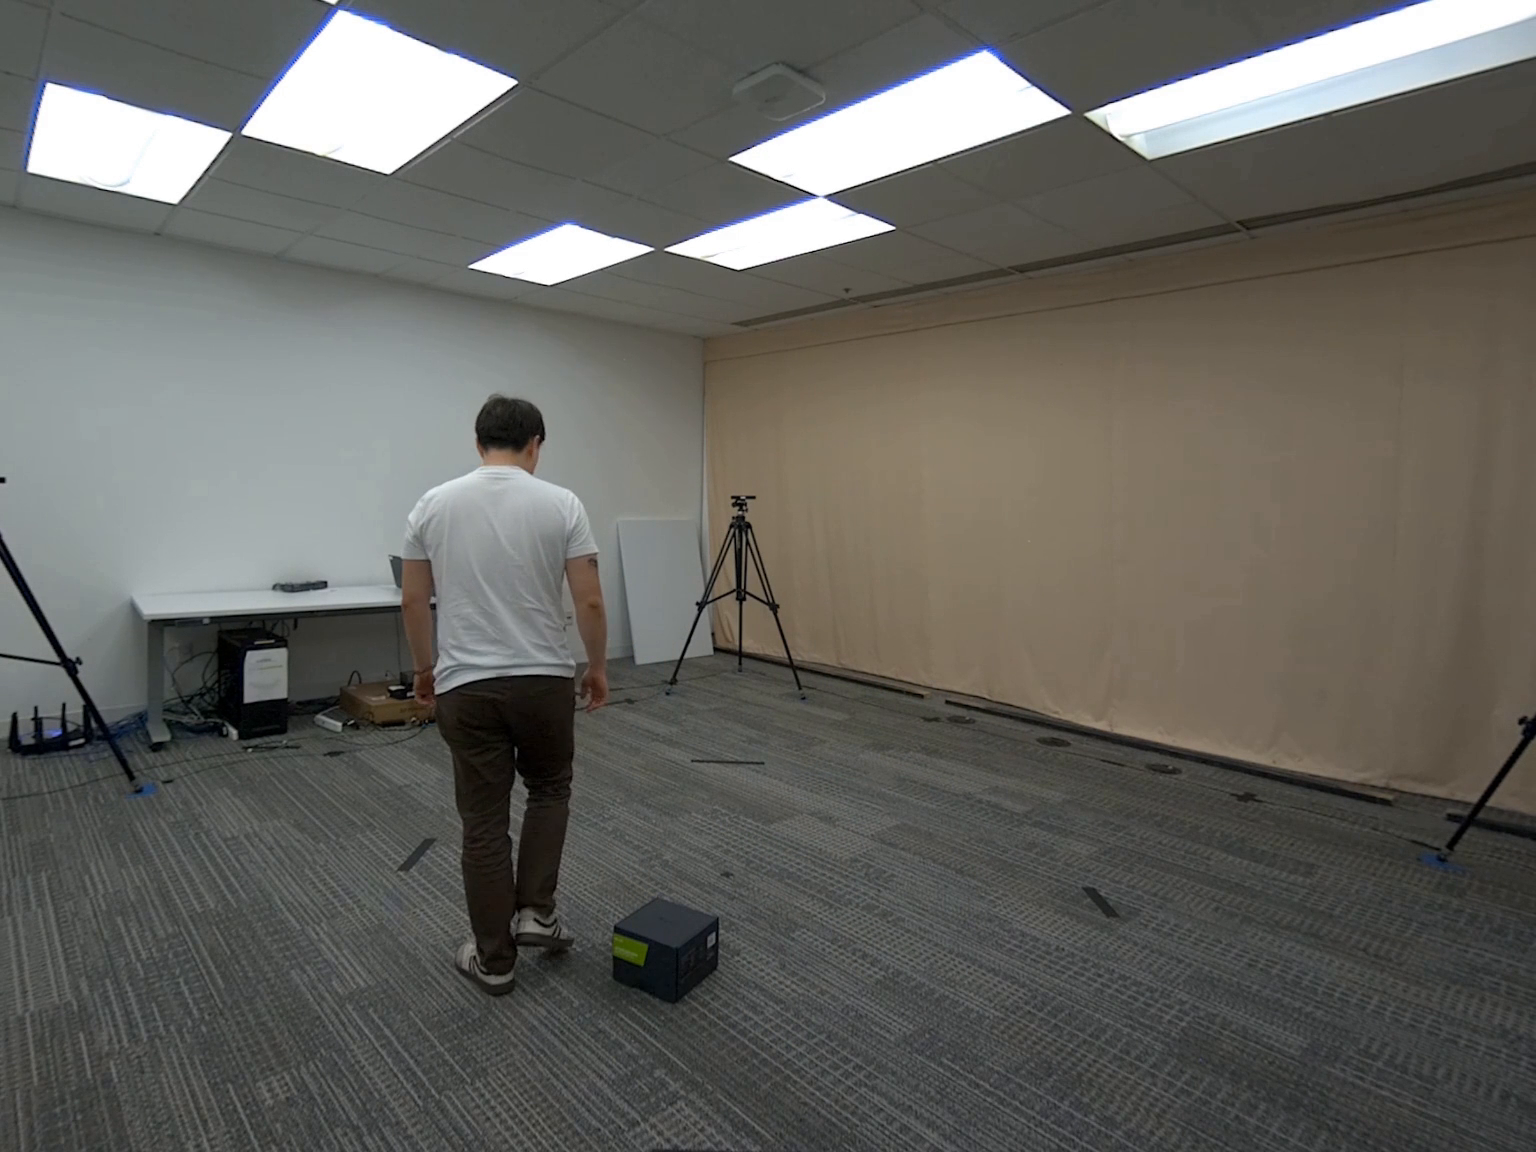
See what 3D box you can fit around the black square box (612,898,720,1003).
[{"bbox_3d":[-0.303,1.078,2.442,0.233,0.155,0.213,4,5,30],"label":"black square box"}]
